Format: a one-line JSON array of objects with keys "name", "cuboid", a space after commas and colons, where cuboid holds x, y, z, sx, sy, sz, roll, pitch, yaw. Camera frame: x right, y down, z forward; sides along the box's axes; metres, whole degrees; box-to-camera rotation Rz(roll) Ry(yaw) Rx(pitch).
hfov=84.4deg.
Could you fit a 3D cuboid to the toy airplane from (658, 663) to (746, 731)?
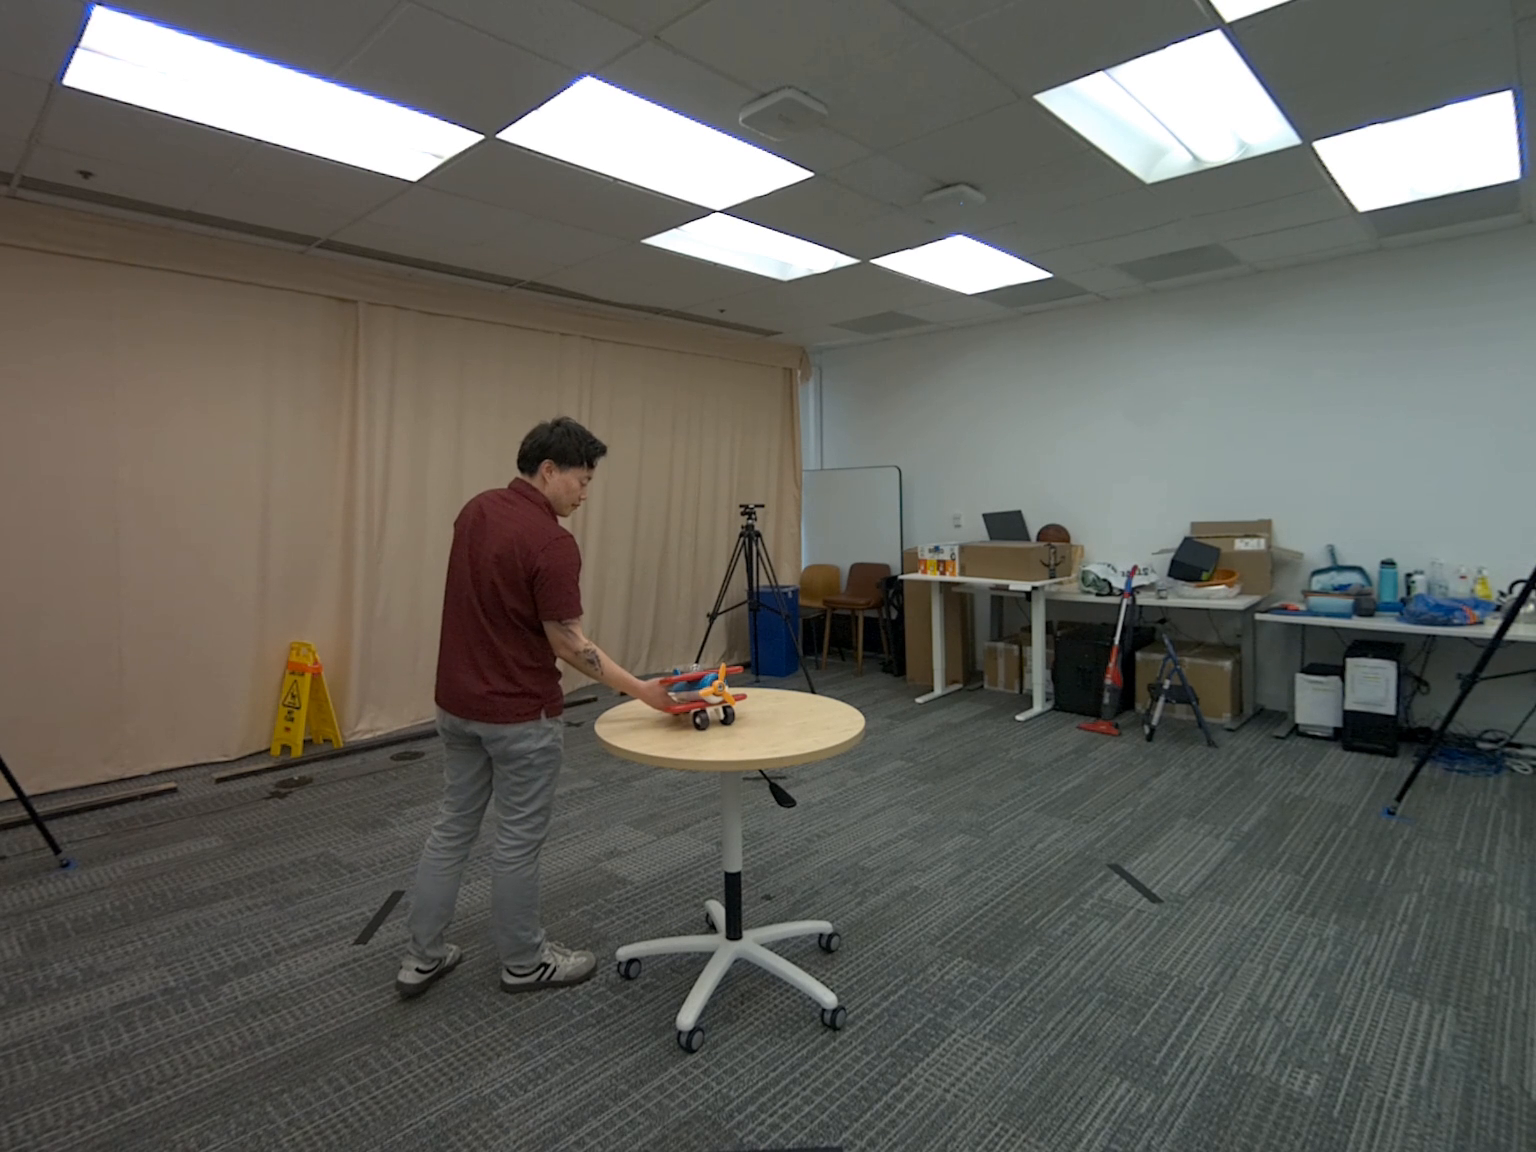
[{"name": "toy airplane", "cuboid": [-0.209, 0.337, 2.368, 0.267, 0.156, 0.245, 2, 7, 30]}]
